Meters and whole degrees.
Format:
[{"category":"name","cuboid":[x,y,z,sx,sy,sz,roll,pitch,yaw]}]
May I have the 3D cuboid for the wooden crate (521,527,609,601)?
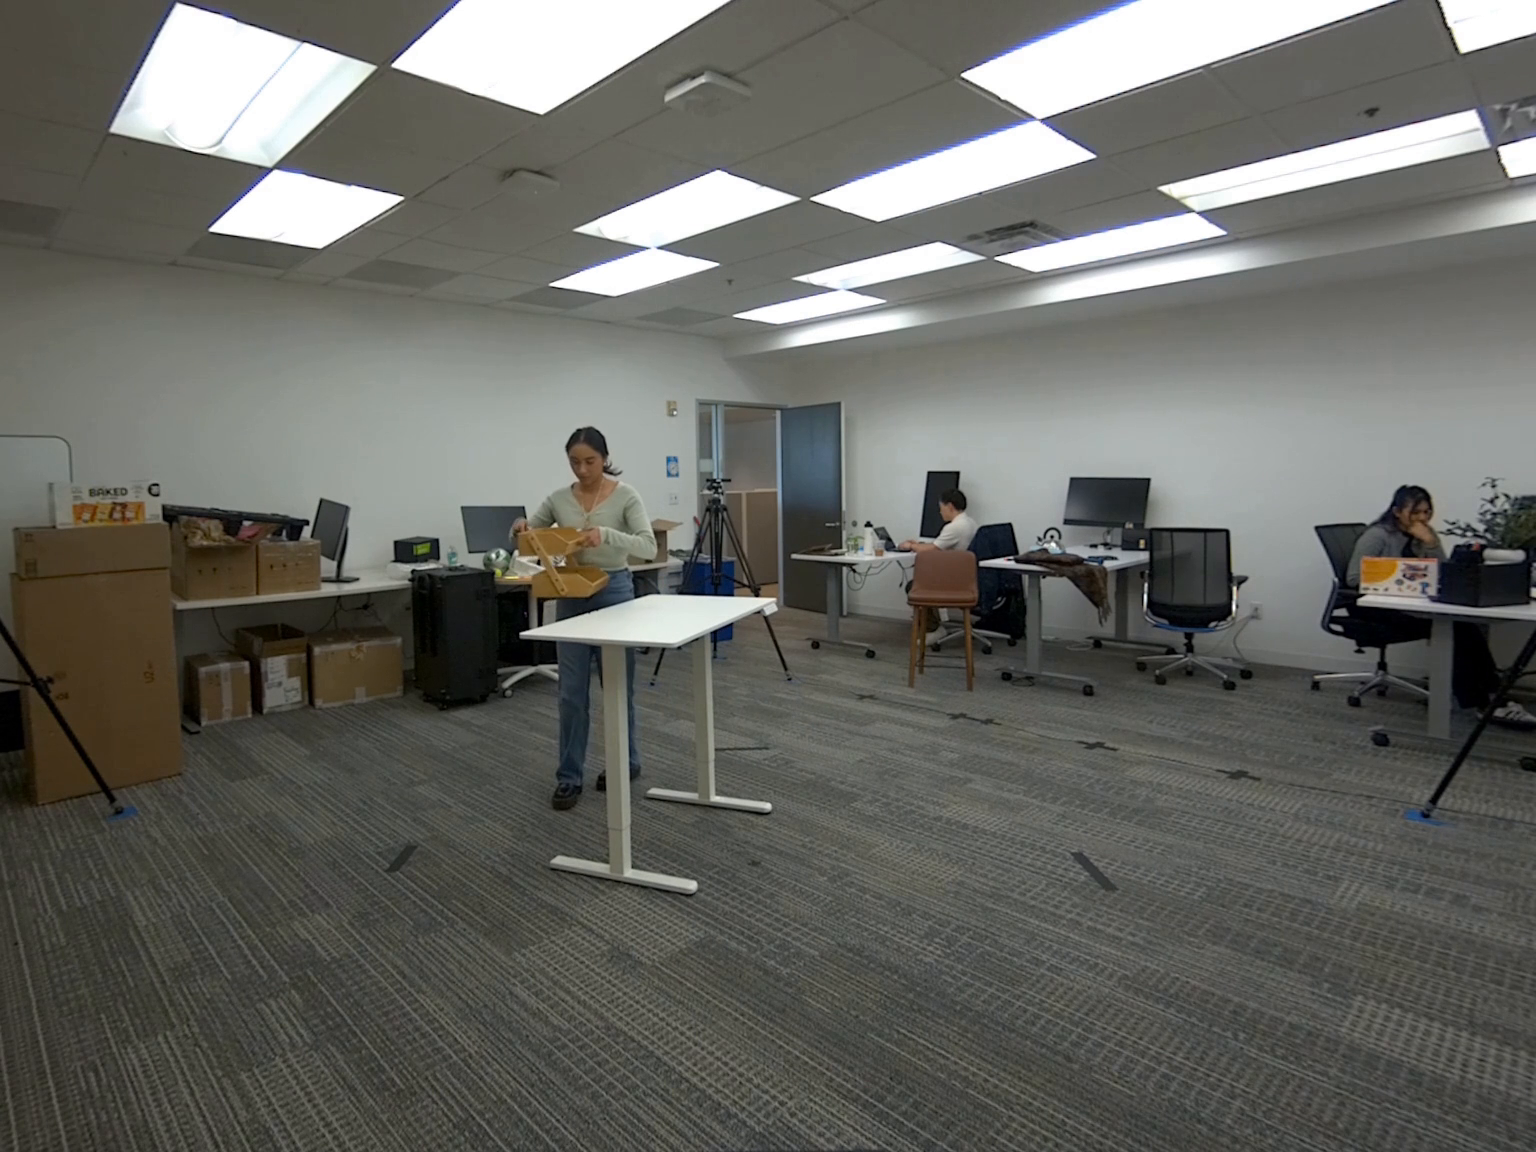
[{"category":"wooden crate","cuboid":[-0.819,-0.066,3.570,0.303,0.272,0.325,-3,6,4]}]
